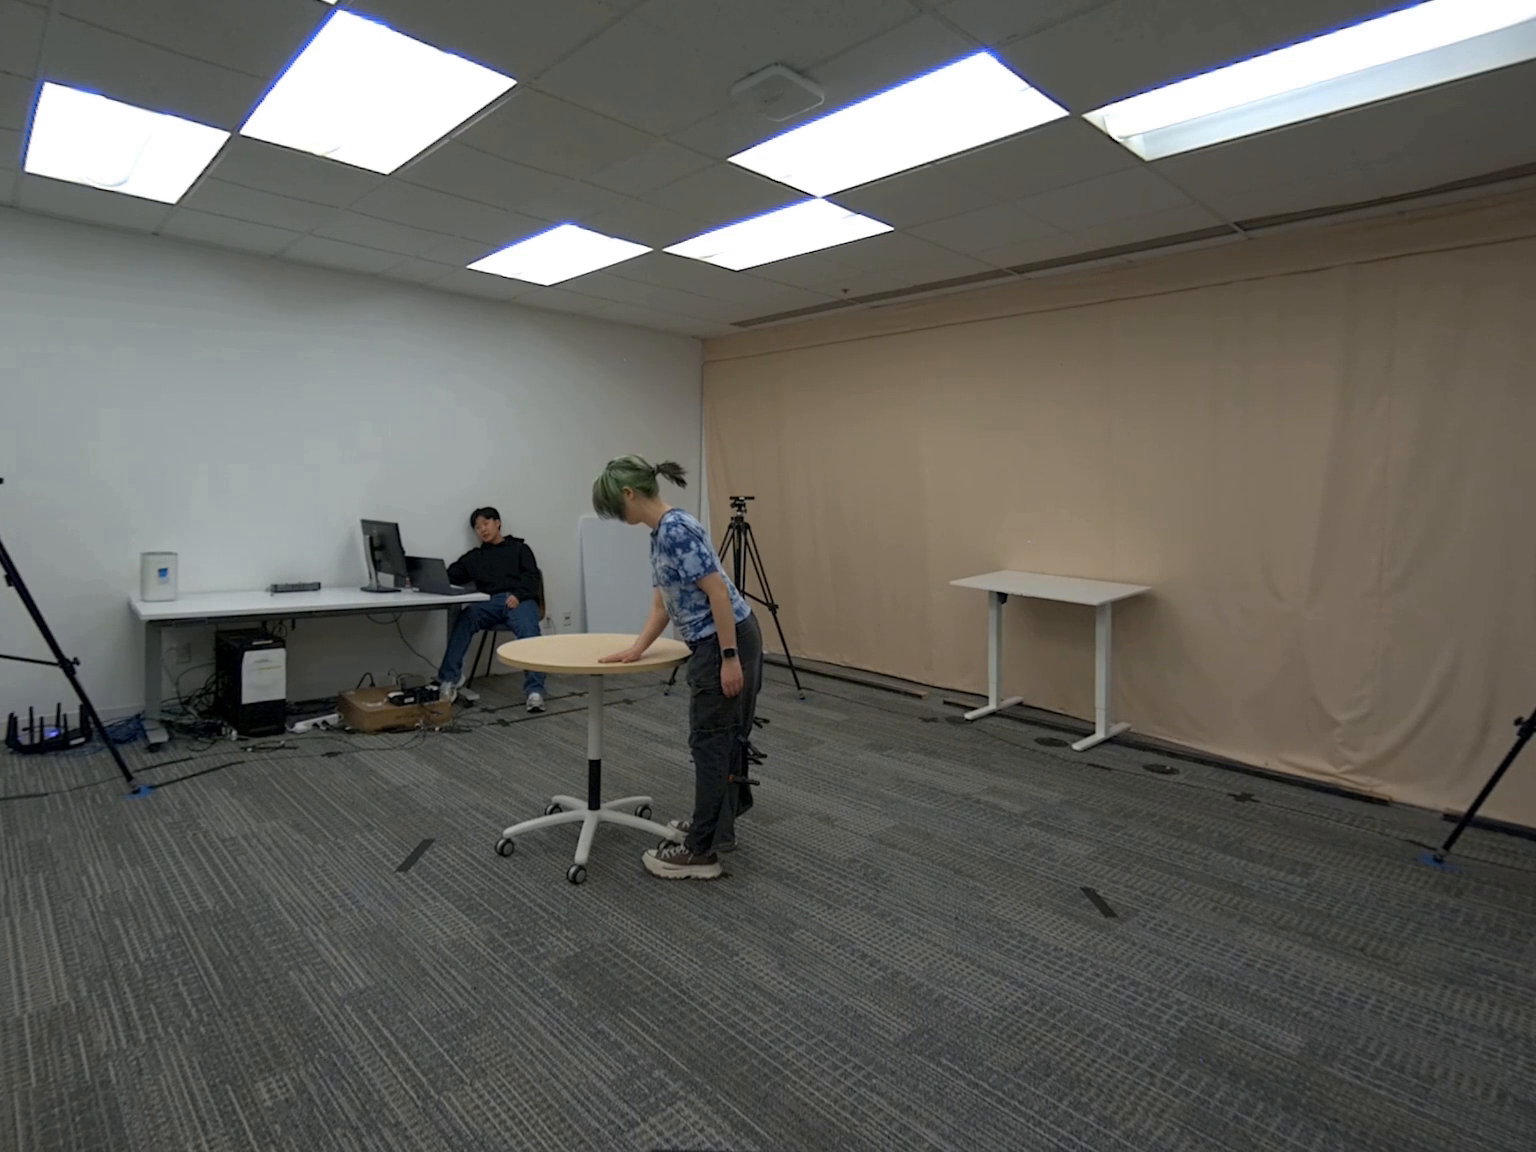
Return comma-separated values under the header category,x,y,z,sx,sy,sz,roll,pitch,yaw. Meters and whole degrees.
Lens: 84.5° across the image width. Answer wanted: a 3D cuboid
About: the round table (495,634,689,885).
category,x,y,z,sx,sy,sz,roll,pitch,yaw
round table,-0.680,0.675,3.349,0.784,0.784,0.788,1,4,-1
